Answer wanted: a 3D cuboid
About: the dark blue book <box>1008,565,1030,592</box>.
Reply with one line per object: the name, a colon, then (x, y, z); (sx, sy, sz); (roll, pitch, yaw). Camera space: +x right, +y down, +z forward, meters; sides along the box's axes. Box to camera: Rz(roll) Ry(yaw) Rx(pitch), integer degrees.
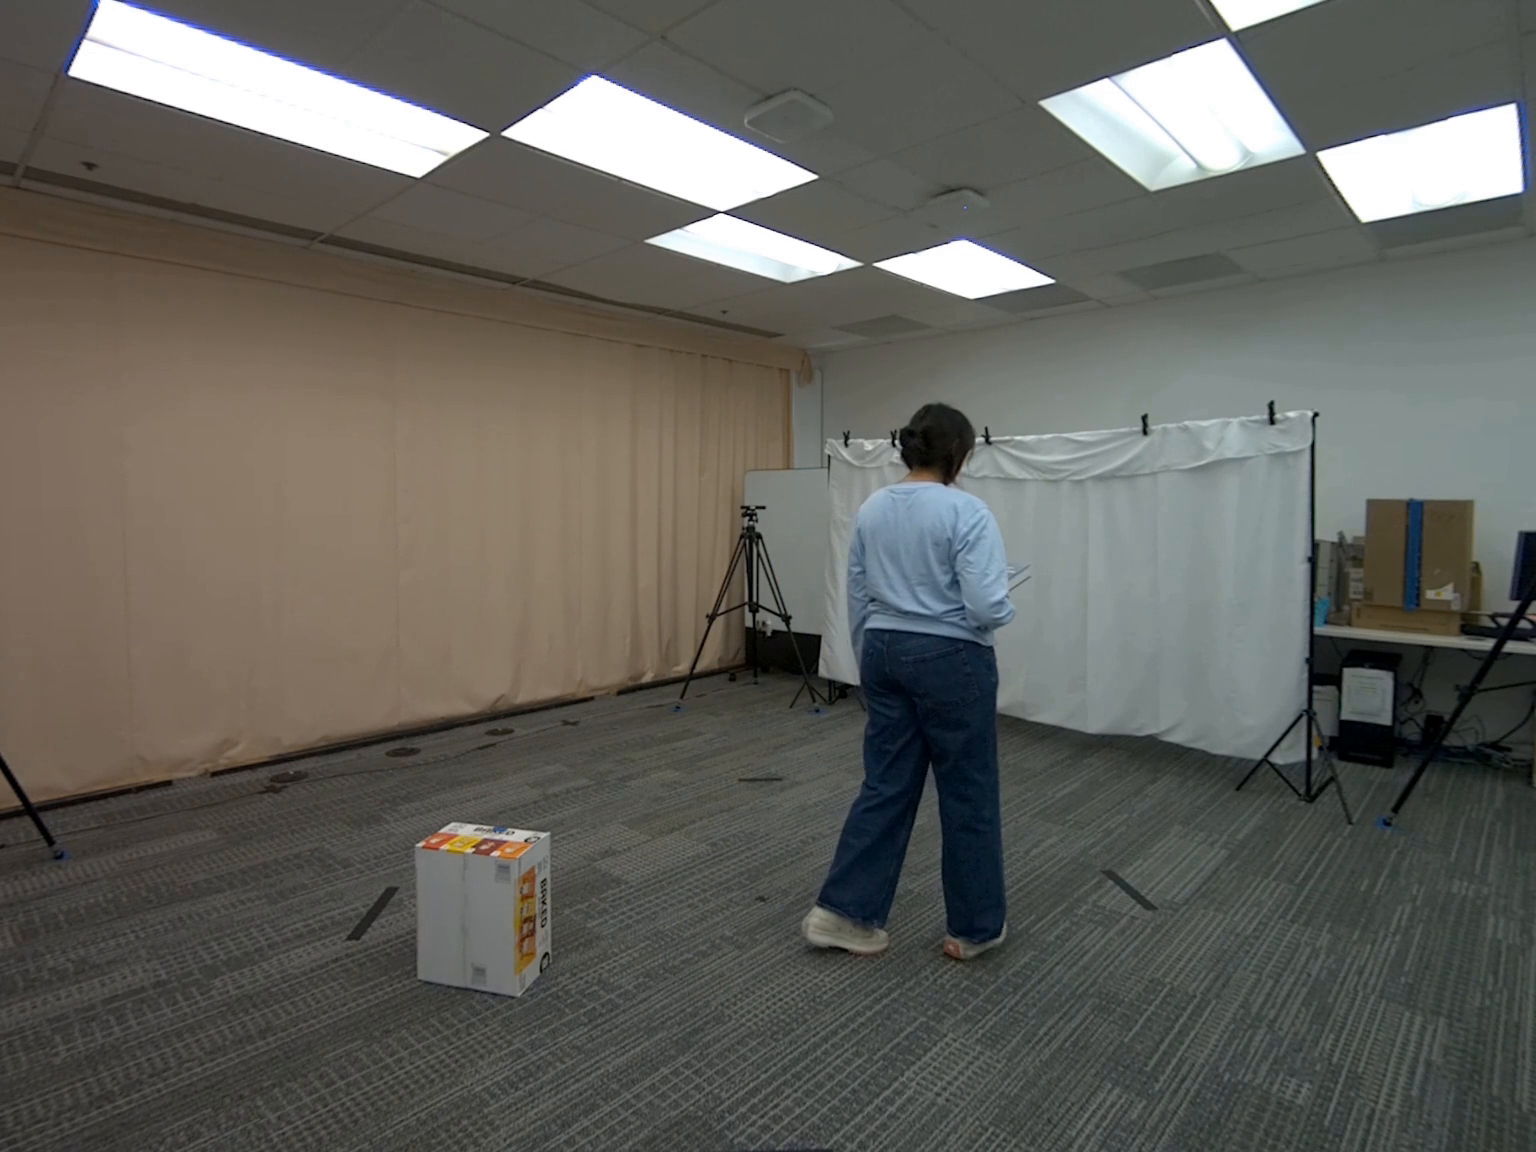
dark blue book: (0.742, 0.021, 2.756); (0.240, 0.044, 0.169); (-25, 19, -34)
